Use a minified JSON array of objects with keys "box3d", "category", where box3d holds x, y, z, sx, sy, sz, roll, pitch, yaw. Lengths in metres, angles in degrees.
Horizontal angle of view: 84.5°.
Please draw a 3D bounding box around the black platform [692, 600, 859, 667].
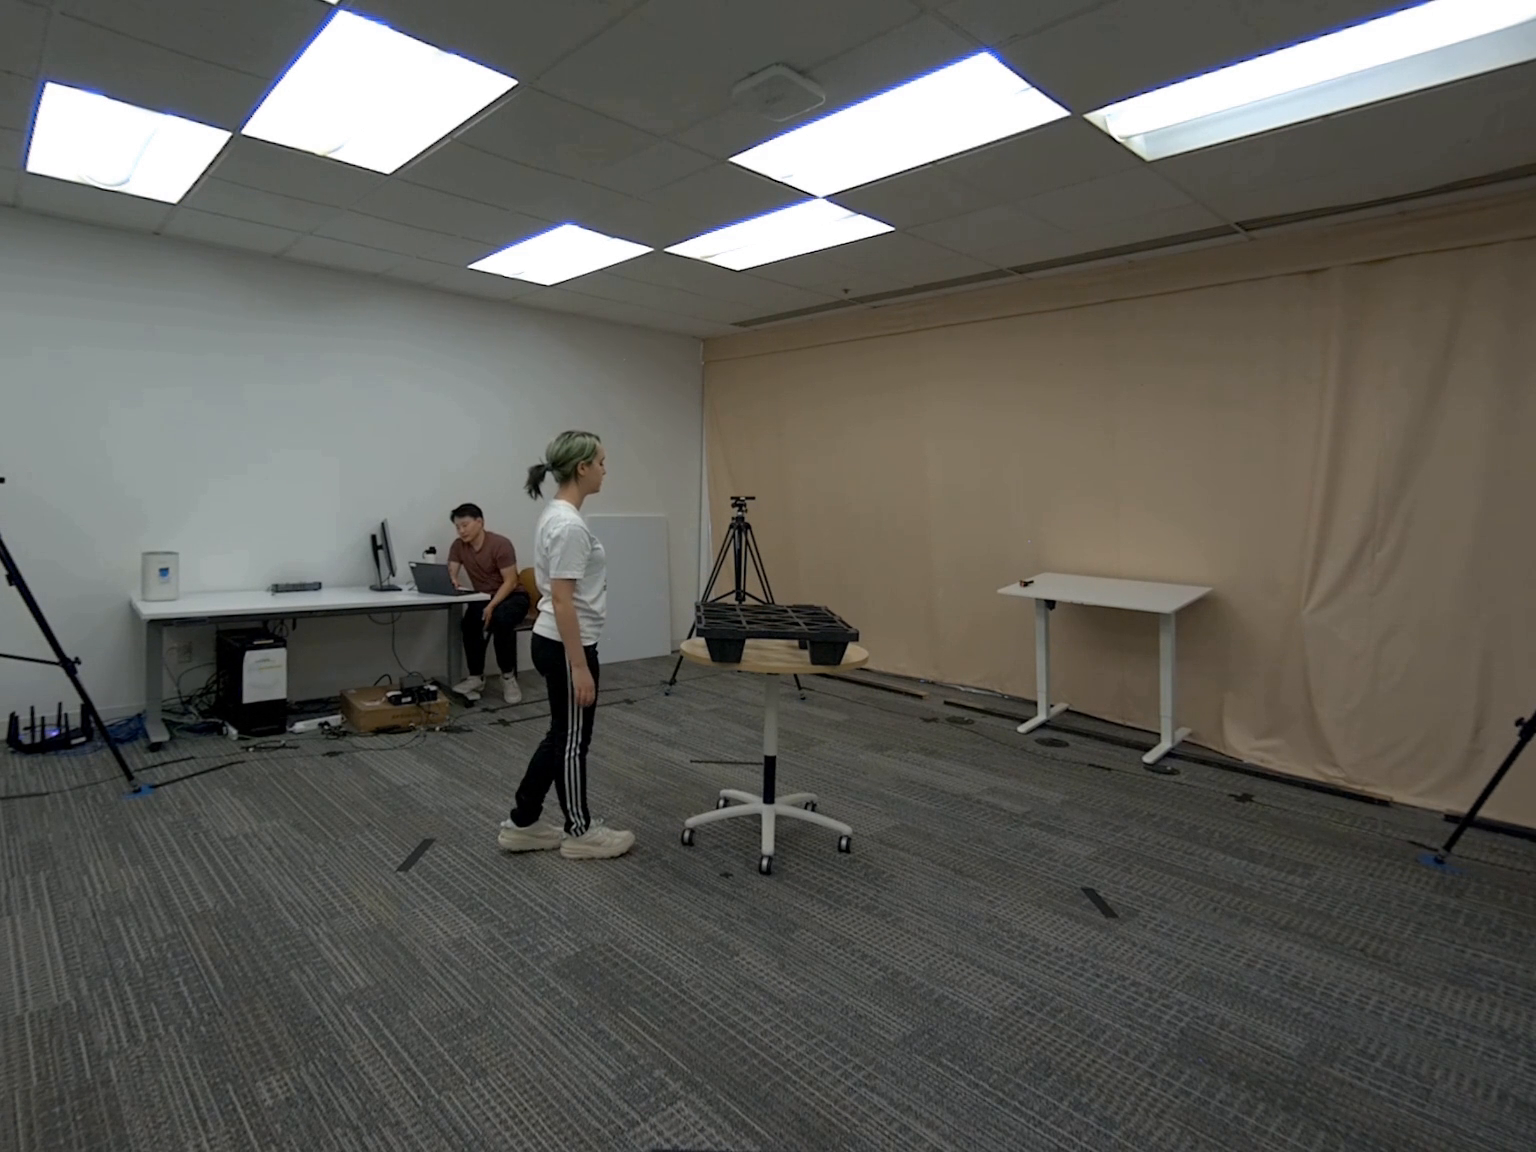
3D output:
[{"box3d":[-0.012,0.229,3.441,0.603,0.143,0.810,2,5,-5],"category":"black platform"}]
